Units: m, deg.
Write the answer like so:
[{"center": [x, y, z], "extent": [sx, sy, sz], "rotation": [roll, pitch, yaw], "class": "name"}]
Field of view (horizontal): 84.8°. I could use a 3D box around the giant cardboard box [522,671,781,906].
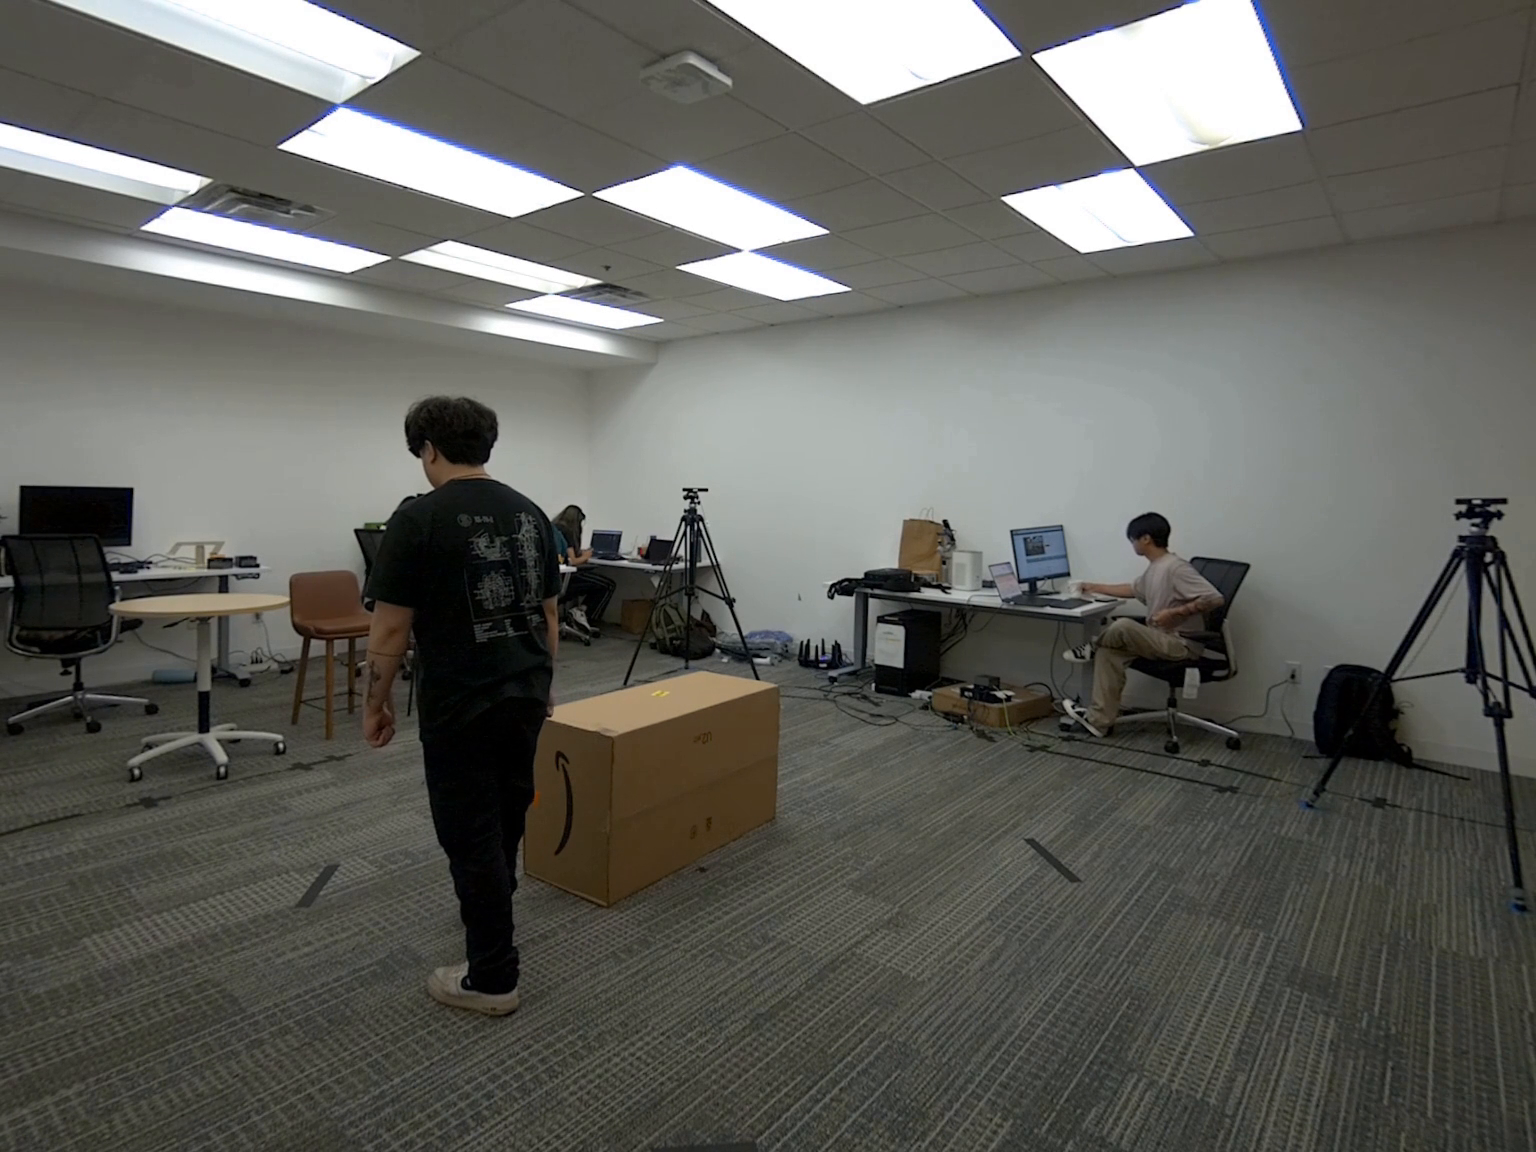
[{"center": [-0.423, 0.759, 3.322], "extent": [0.461, 0.582, 0.998], "rotation": [3, 4, 34], "class": "giant cardboard box"}]
